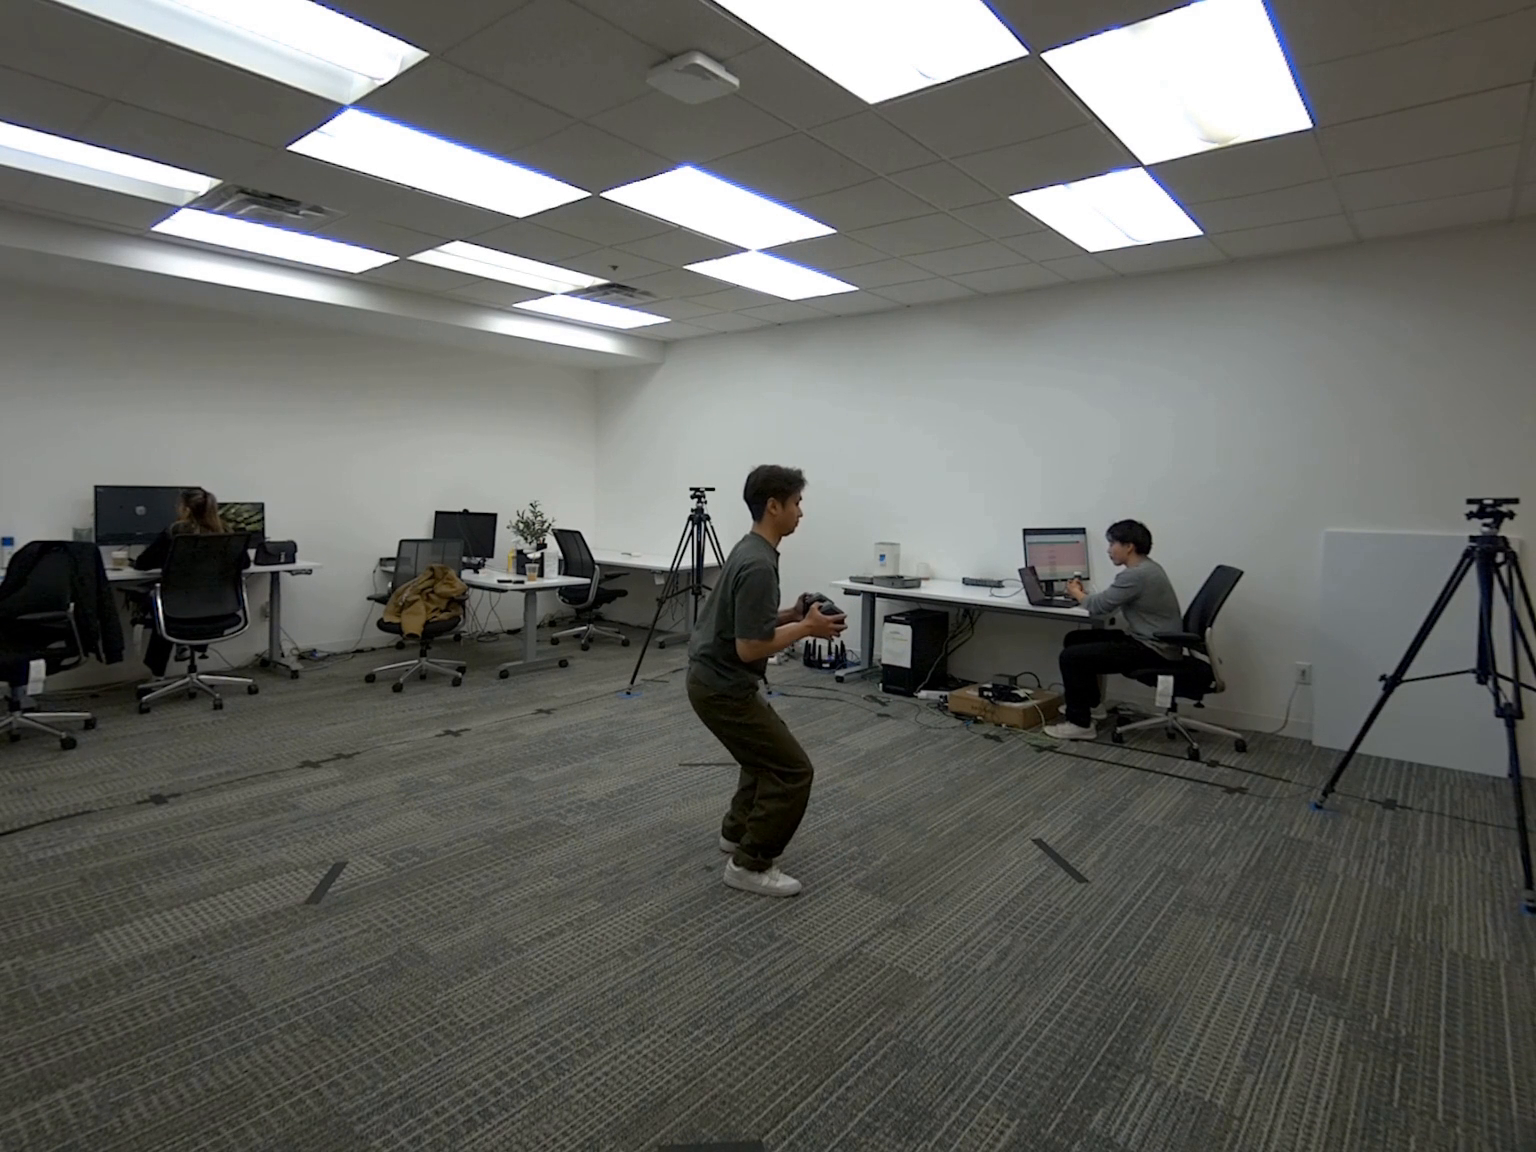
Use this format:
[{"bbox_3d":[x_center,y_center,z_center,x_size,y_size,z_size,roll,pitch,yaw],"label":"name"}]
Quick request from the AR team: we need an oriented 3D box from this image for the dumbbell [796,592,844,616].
[{"bbox_3d":[0.179,0.133,3.106,0.122,0.107,0.297,-22,10,-5],"label":"dumbbell"}]
